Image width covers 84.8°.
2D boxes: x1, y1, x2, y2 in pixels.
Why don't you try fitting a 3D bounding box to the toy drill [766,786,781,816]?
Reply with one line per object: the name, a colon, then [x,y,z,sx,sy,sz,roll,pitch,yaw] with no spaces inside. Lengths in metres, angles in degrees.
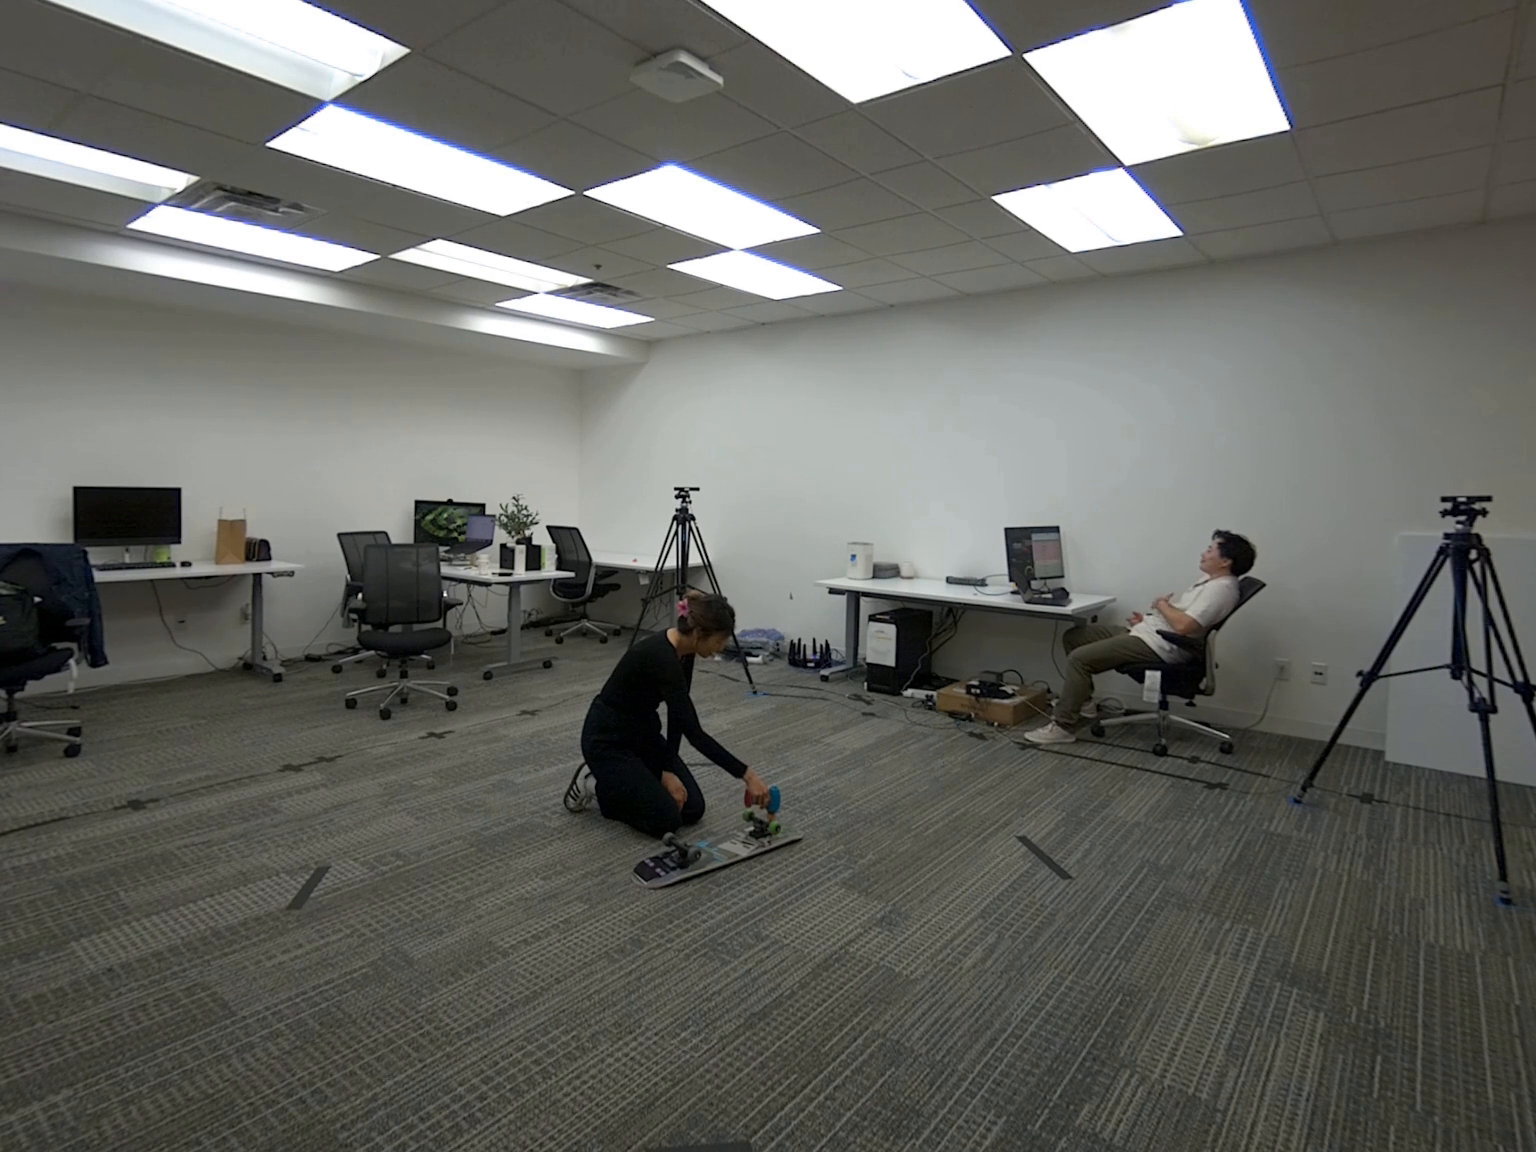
toy drill: [-0.031,0.910,3.333,0.144,0.169,0.062,3,6,-10]
